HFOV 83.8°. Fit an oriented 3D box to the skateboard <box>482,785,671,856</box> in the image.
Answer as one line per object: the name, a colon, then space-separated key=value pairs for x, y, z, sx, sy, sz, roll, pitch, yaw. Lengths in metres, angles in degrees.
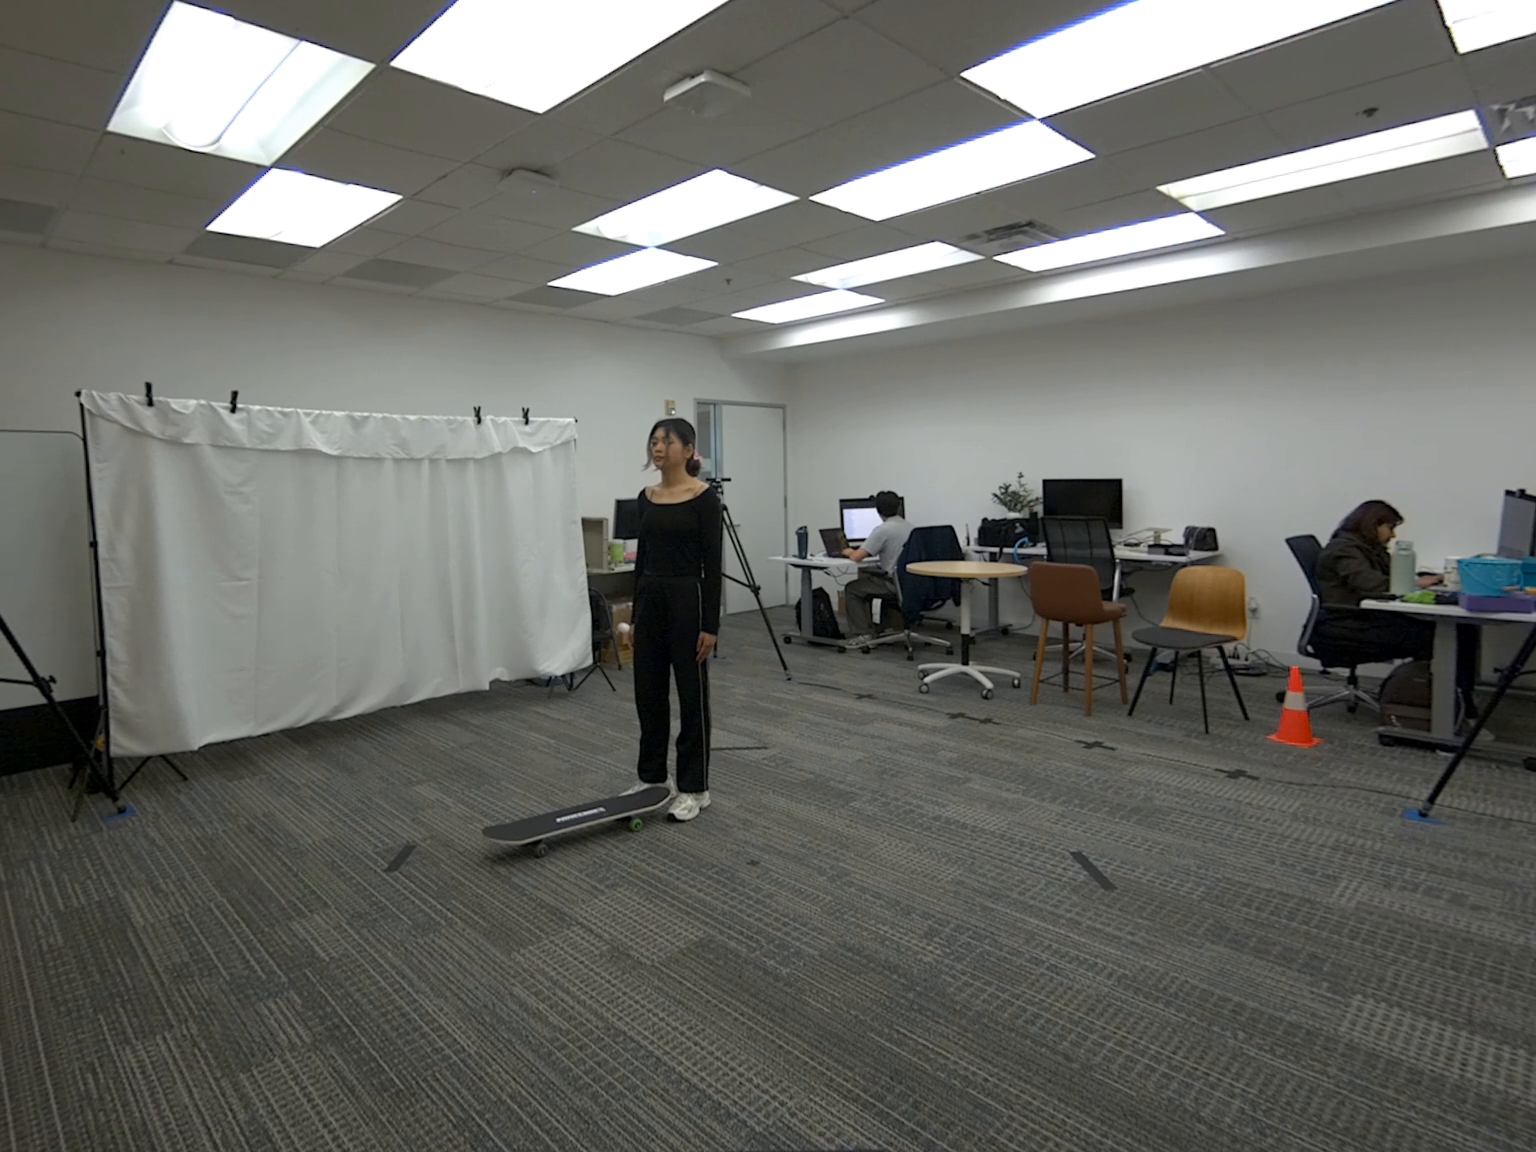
skateboard: x=-0.734 y=0.967 z=3.361 sx=0.766 sy=0.110 sz=0.199 roll=-5 pitch=6 yaw=-34
